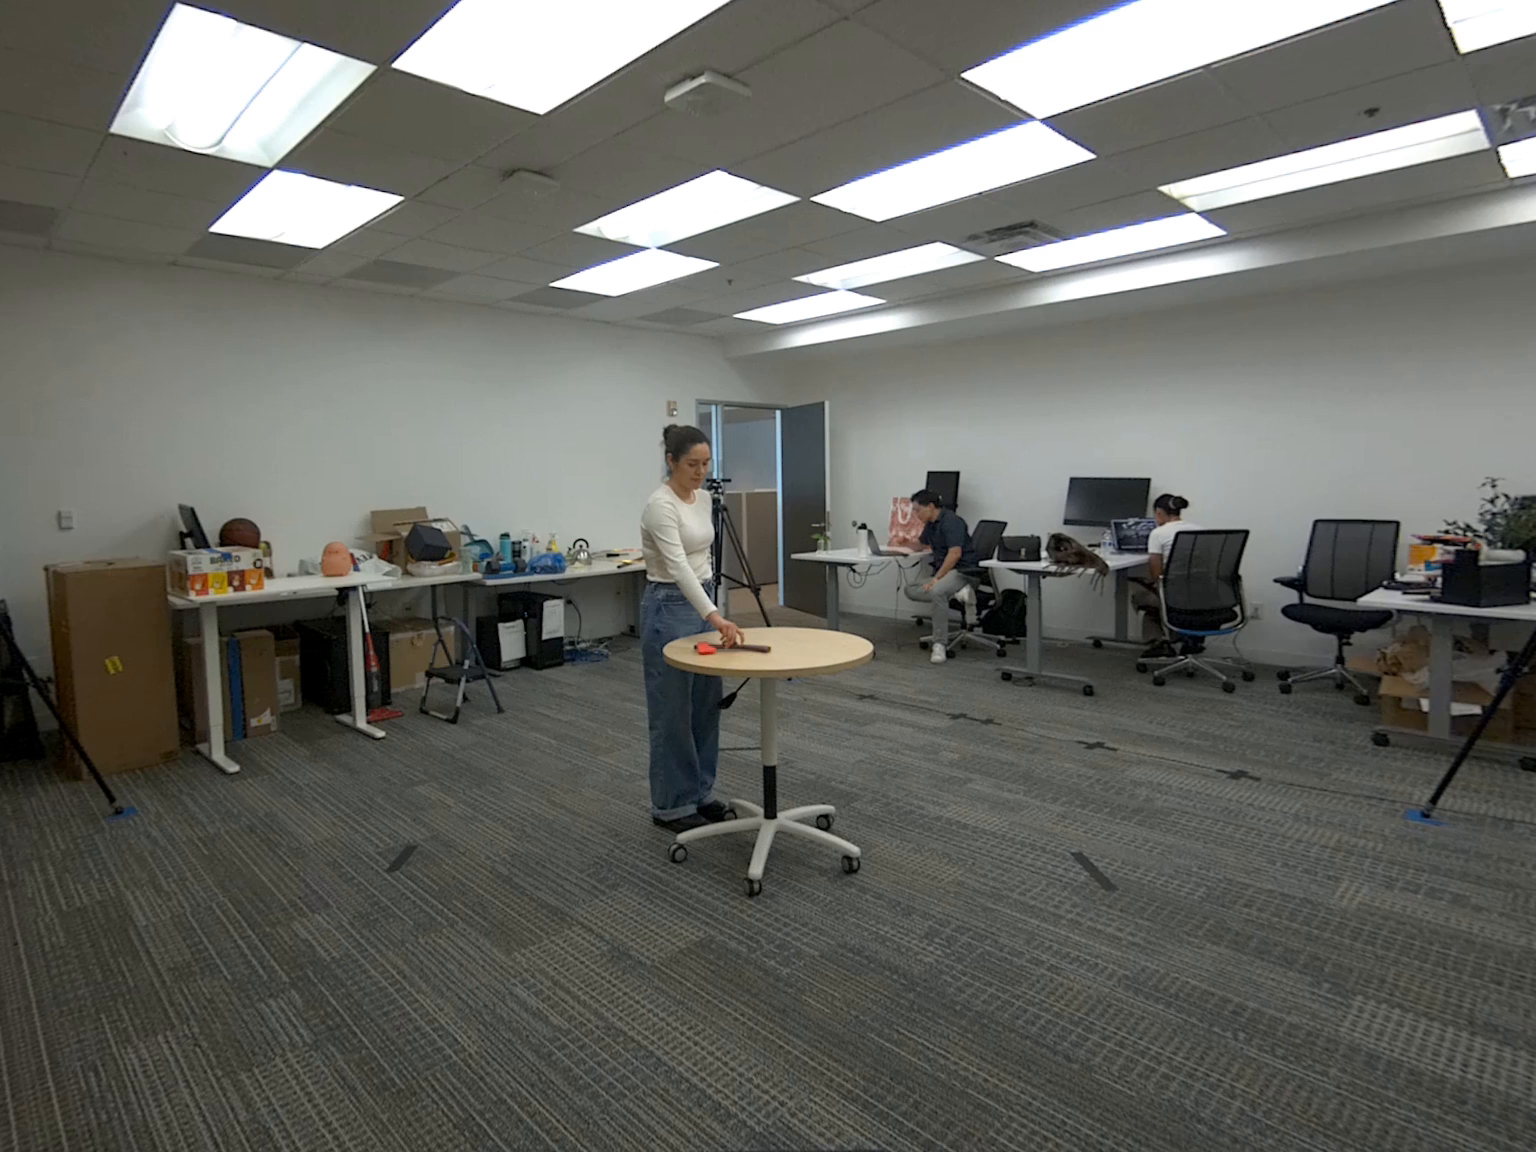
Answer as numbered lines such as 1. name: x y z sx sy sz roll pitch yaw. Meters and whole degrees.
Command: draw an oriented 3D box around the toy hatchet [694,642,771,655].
1. toy hatchet: -0.116 0.260 3.033 0.274 0.029 0.129 -1 6 17
